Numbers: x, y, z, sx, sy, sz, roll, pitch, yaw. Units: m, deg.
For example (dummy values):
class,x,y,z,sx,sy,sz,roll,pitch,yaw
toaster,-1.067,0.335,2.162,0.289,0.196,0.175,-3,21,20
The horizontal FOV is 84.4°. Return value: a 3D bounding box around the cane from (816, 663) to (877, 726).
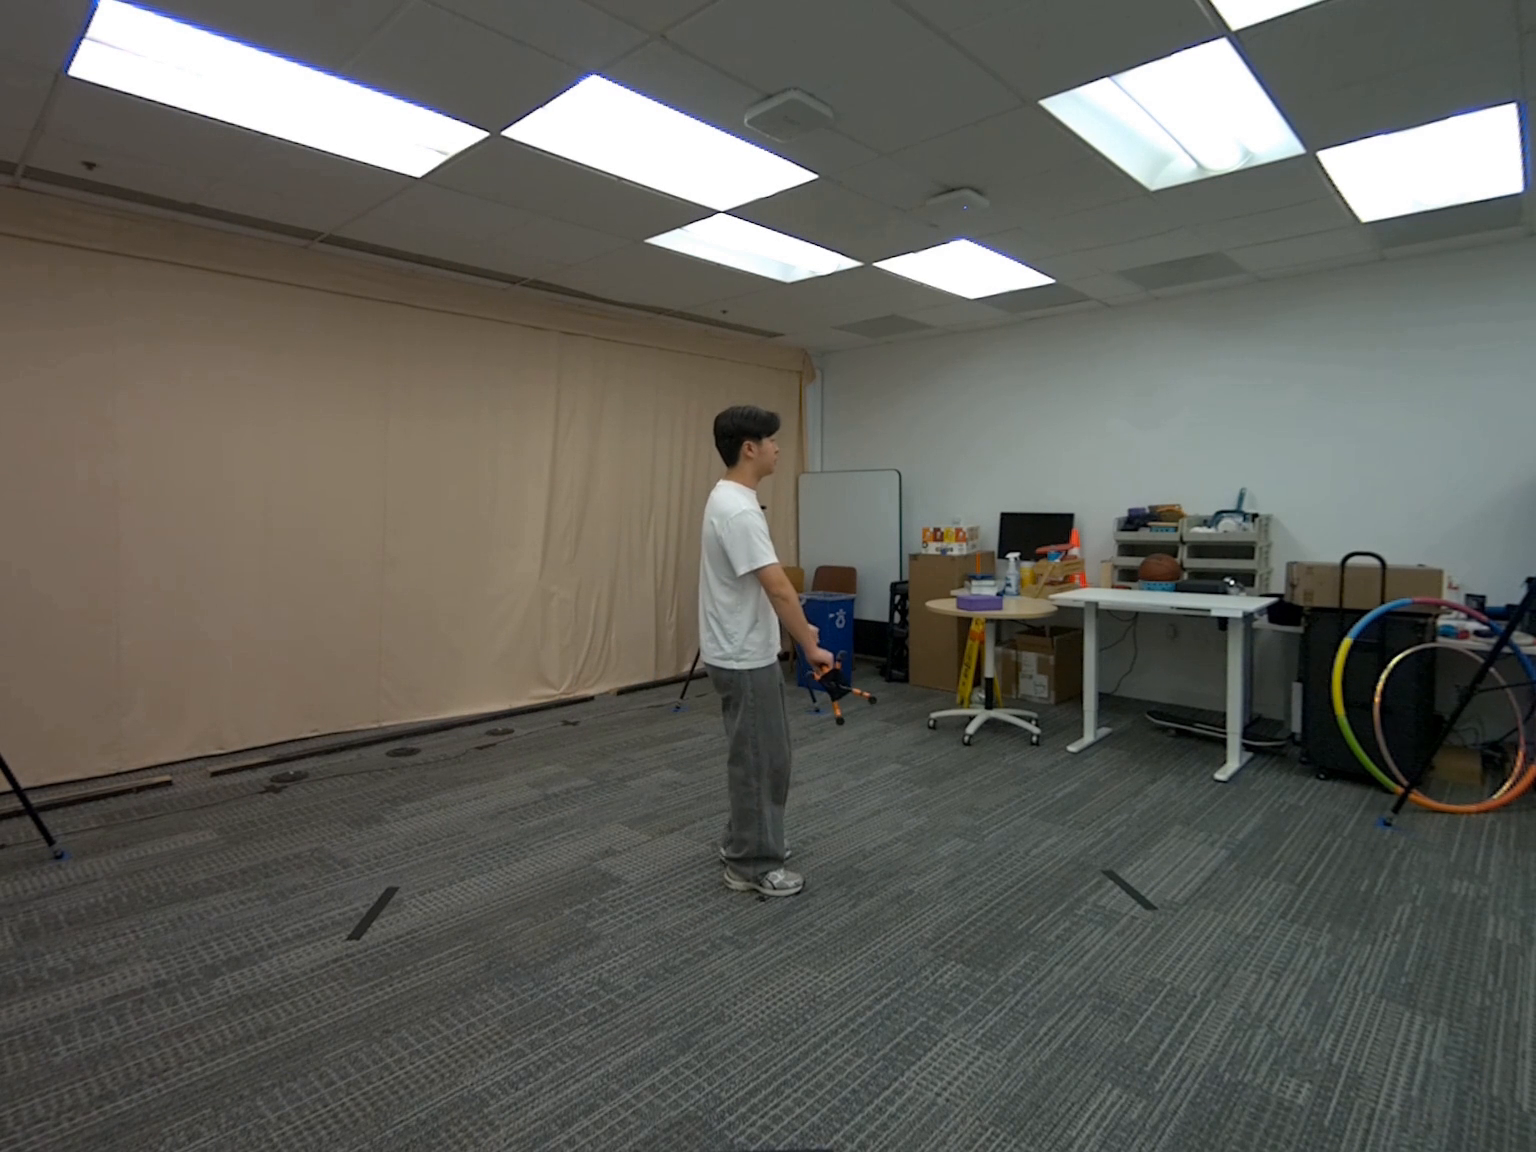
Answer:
class,x,y,z,sx,sy,sz,roll,pitch,yaw
cane,0.193,0.275,3.110,0.152,0.204,0.918,-29,13,1
